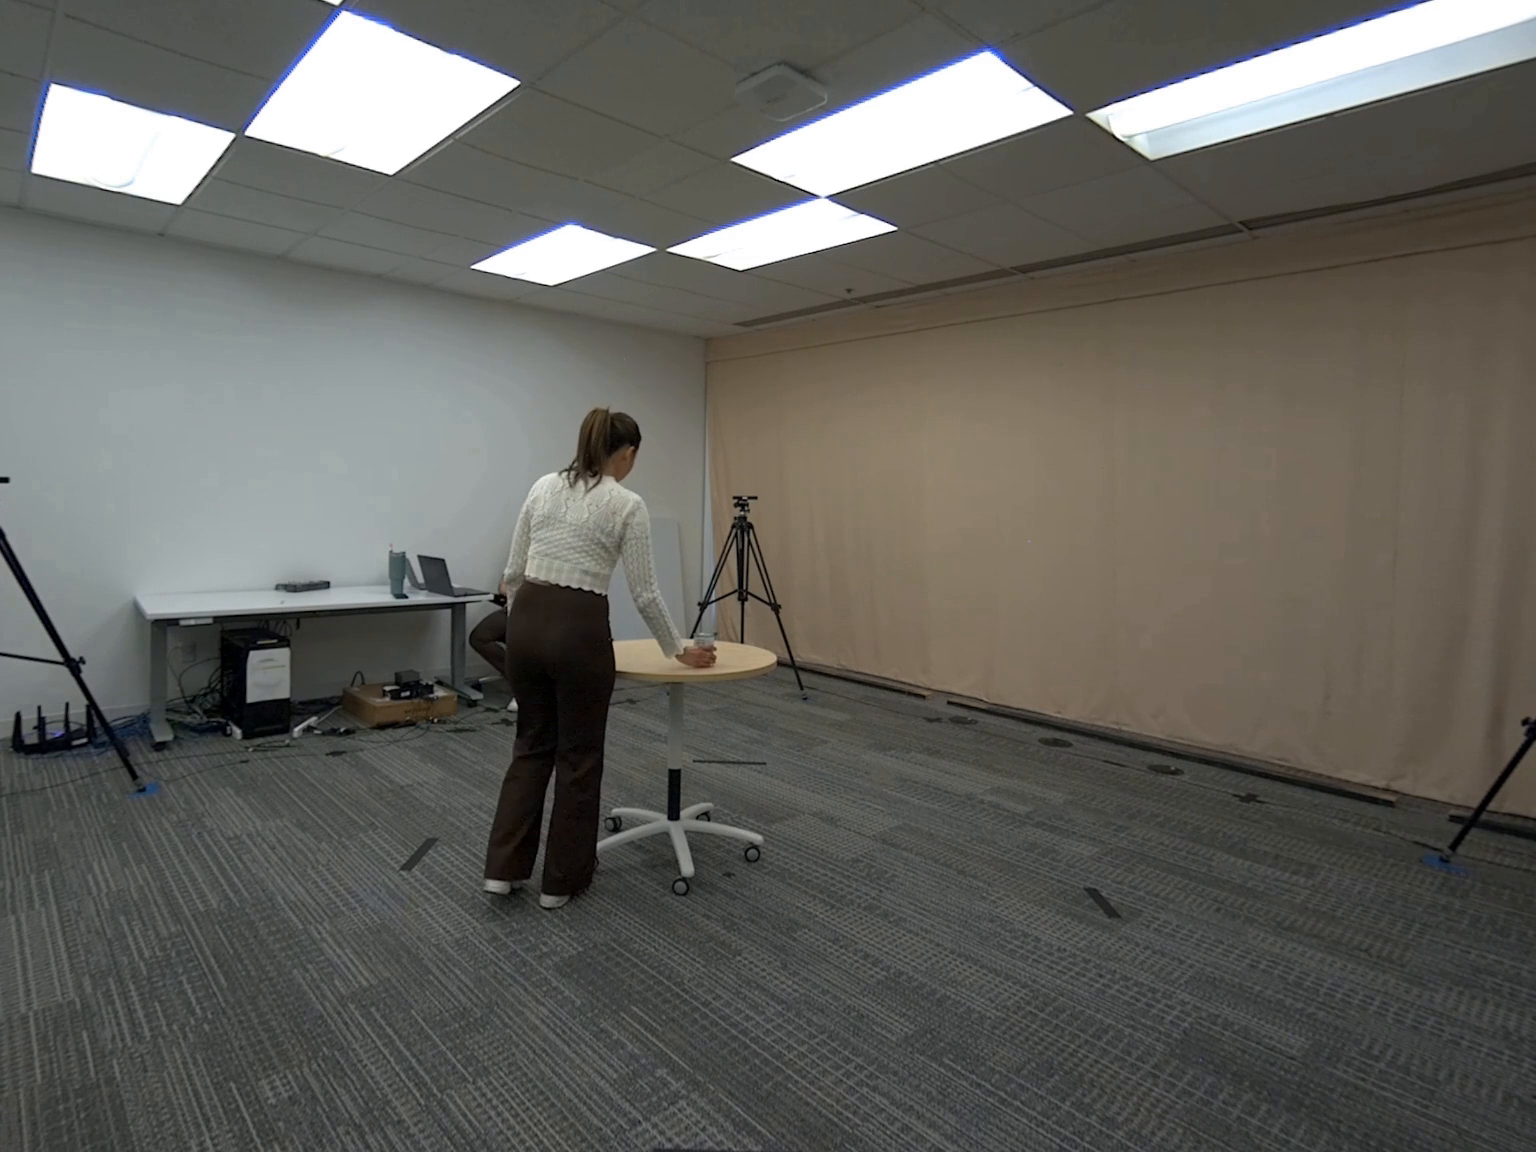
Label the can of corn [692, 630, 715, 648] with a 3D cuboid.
[{"bbox_3d":[-0.230,0.268,3.028,0.074,0.111,0.074,2,4,-2],"label":"can of corn"}]
